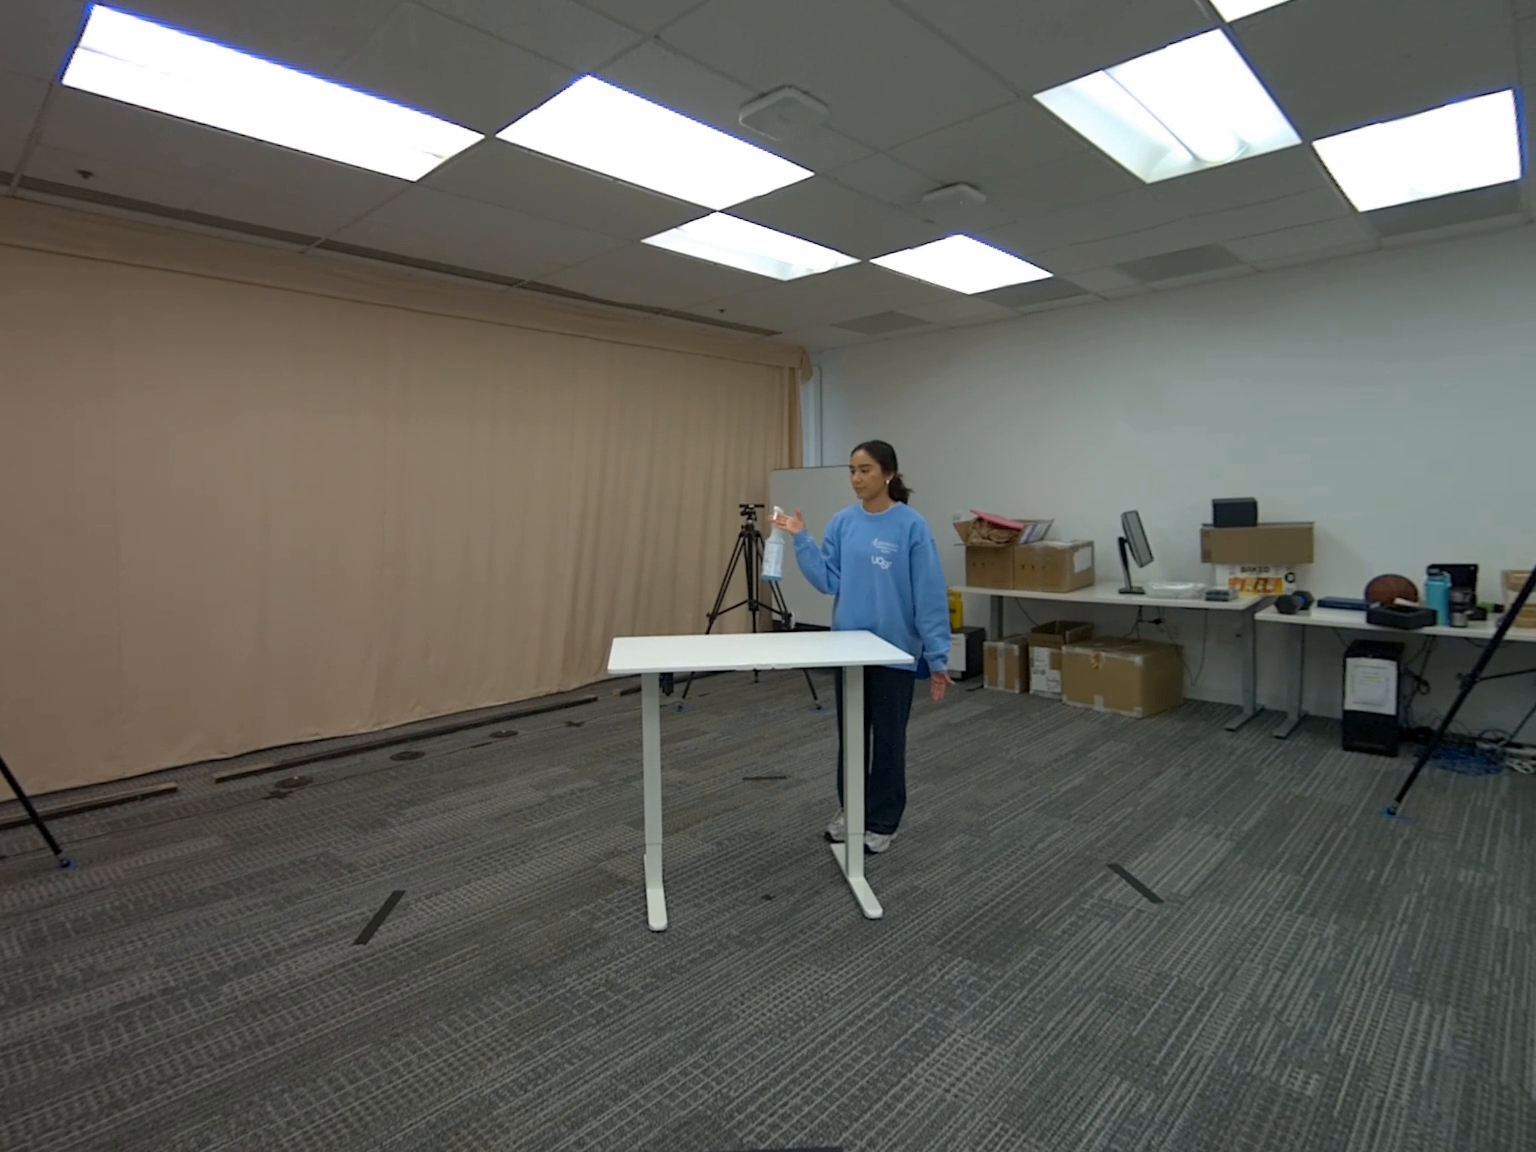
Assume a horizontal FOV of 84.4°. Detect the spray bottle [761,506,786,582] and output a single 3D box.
[{"bbox_3d":[0.036,-0.119,3.459,0.087,0.298,0.090,8,-3,-40],"label":"spray bottle"}]
